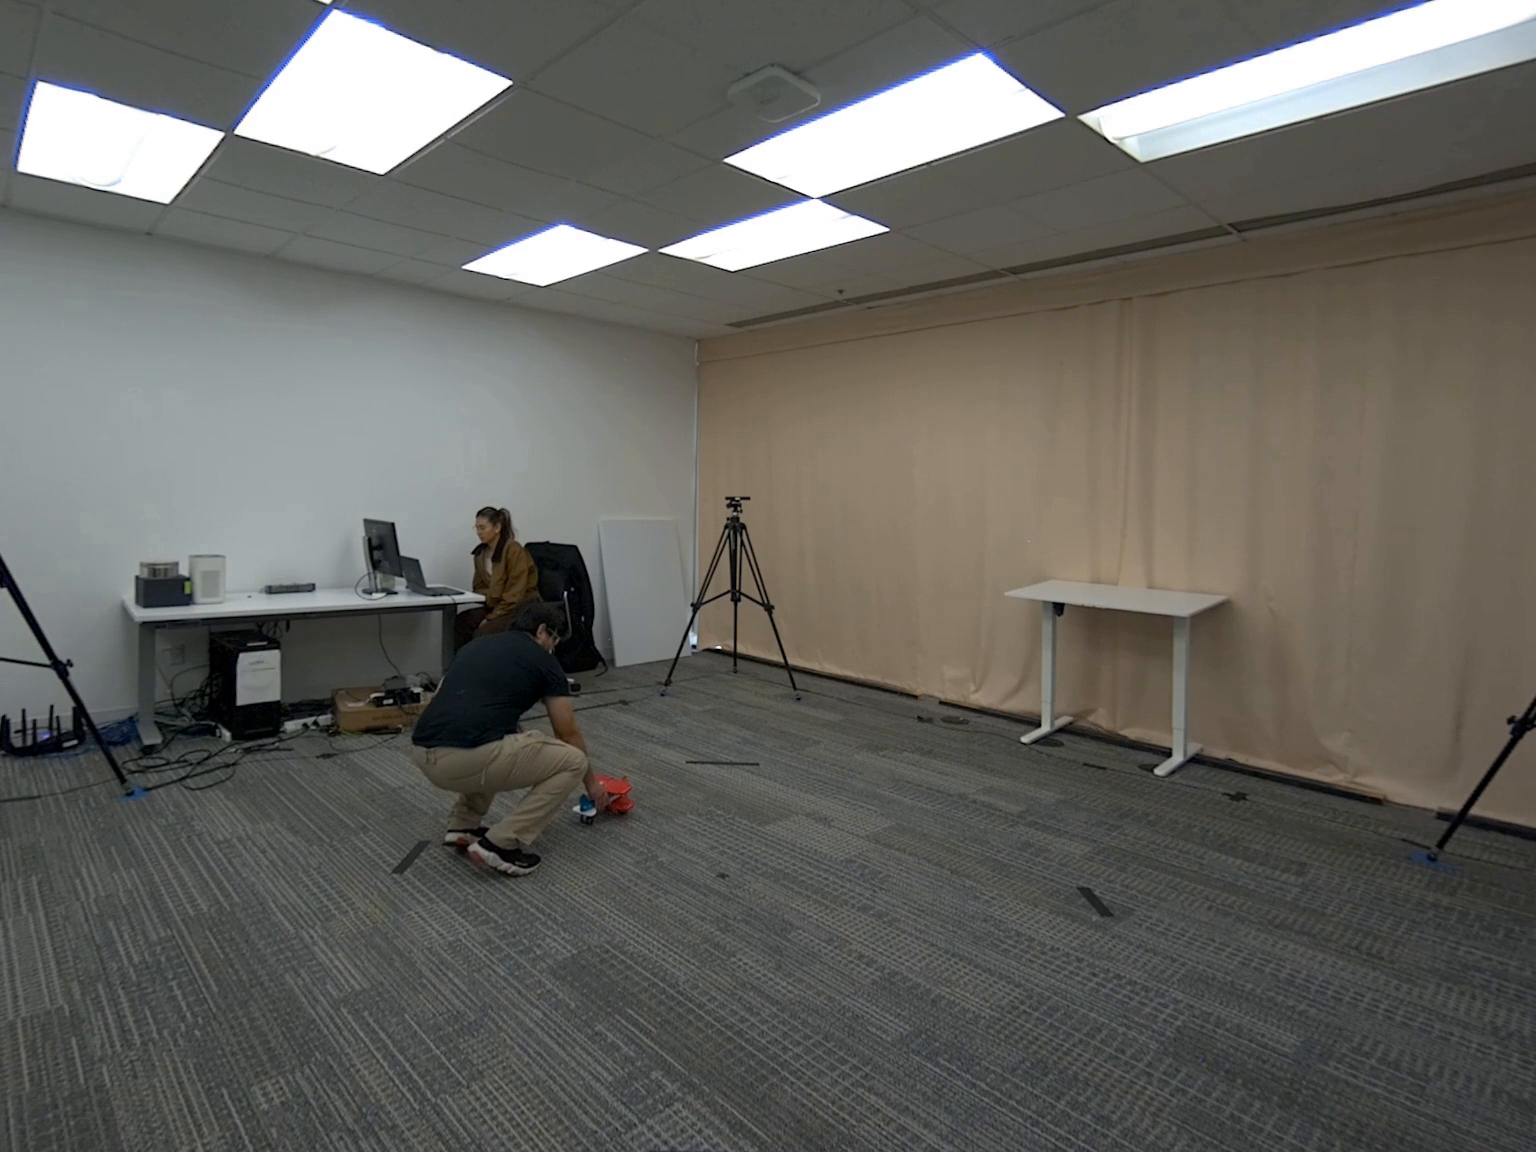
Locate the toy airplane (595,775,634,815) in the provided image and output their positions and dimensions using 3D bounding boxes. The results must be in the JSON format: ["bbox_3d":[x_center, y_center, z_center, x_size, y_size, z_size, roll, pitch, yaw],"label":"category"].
[{"bbox_3d":[-0.711,0.970,3.640,0.252,0.156,0.258,2,2,6],"label":"toy airplane"}]
